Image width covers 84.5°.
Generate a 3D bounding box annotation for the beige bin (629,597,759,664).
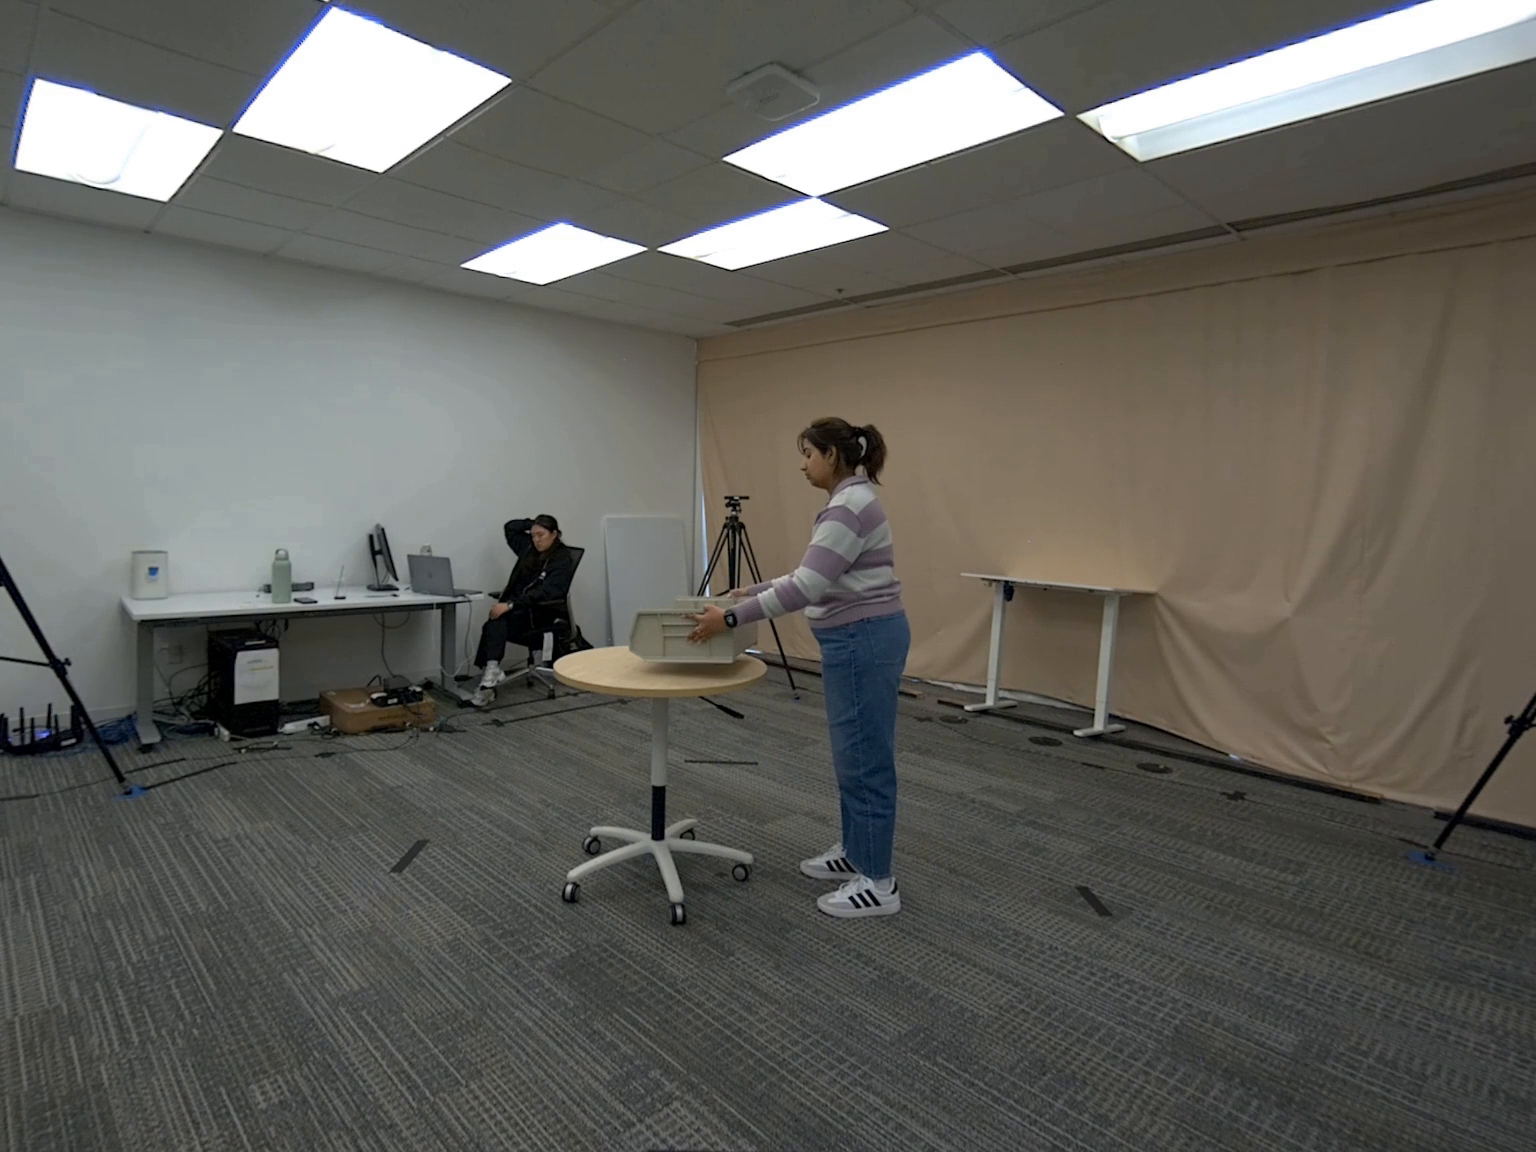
[{"bbox_3d":[-0.255,0.187,3.021,0.381,0.188,0.419,0,4,12],"label":"beige bin"}]
